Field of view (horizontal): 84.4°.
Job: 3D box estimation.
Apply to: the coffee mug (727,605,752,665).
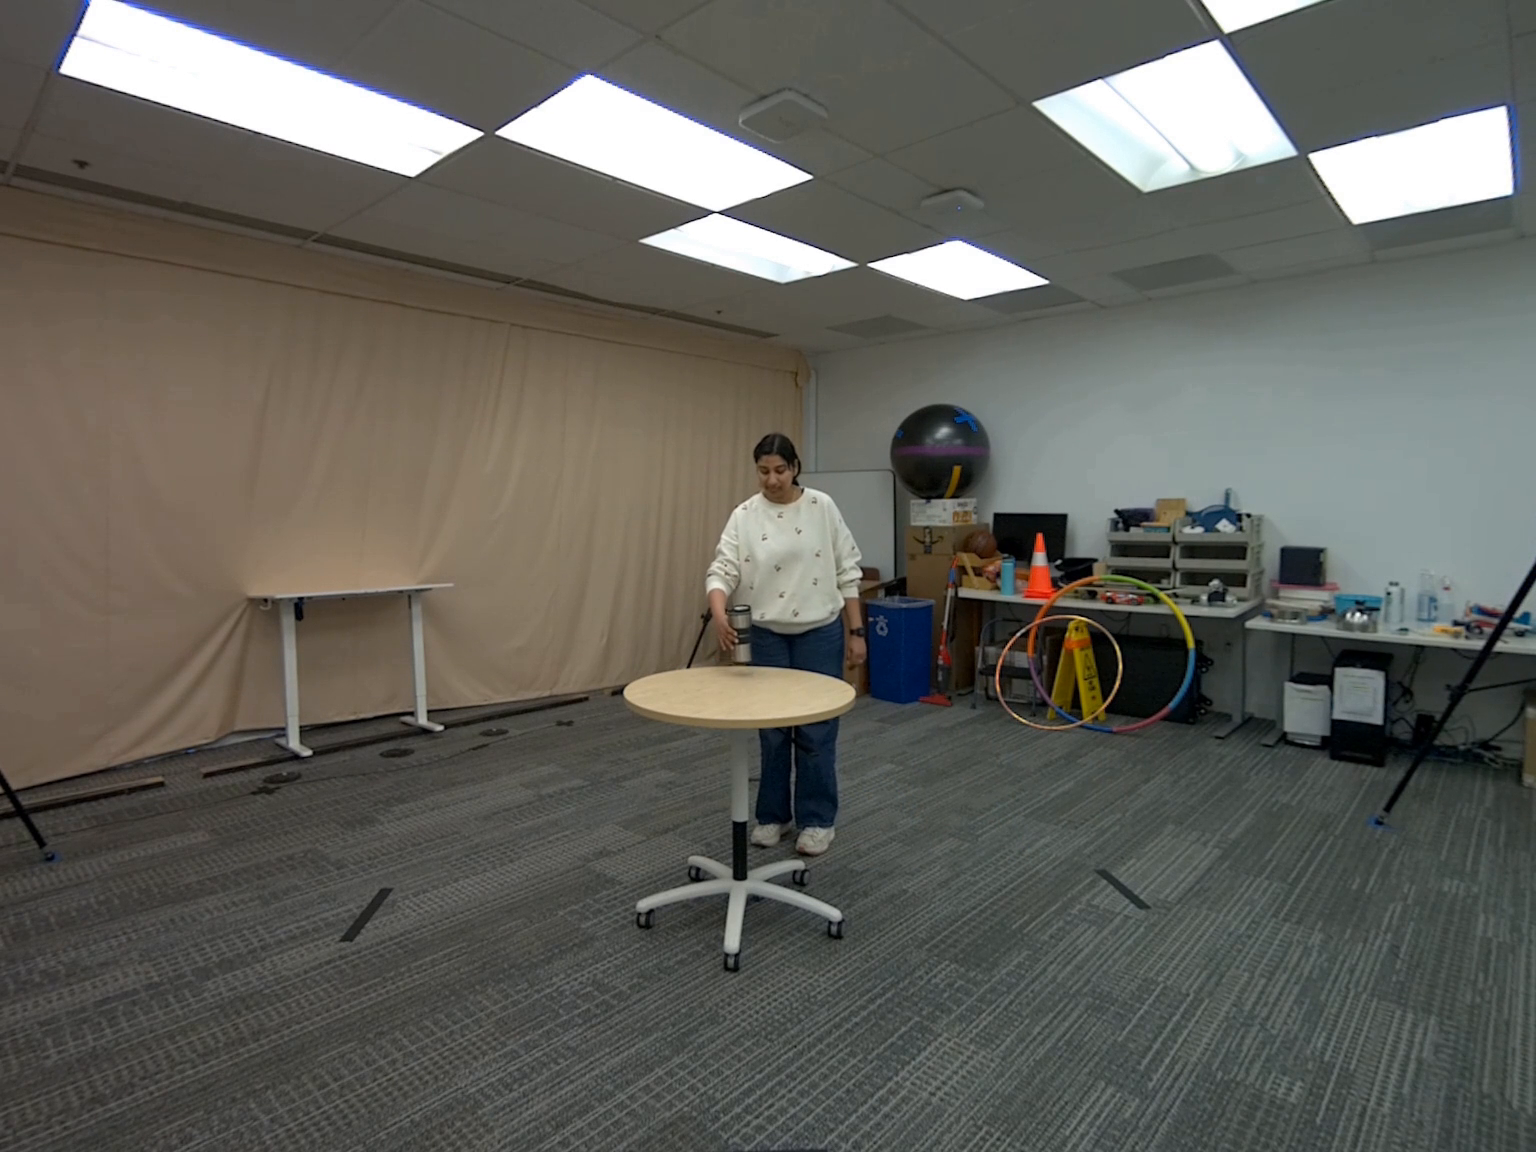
[{"bbox_3d":[-0.074,0.209,3.033,0.090,0.202,0.119,-2,6,37],"label":"coffee mug"}]
